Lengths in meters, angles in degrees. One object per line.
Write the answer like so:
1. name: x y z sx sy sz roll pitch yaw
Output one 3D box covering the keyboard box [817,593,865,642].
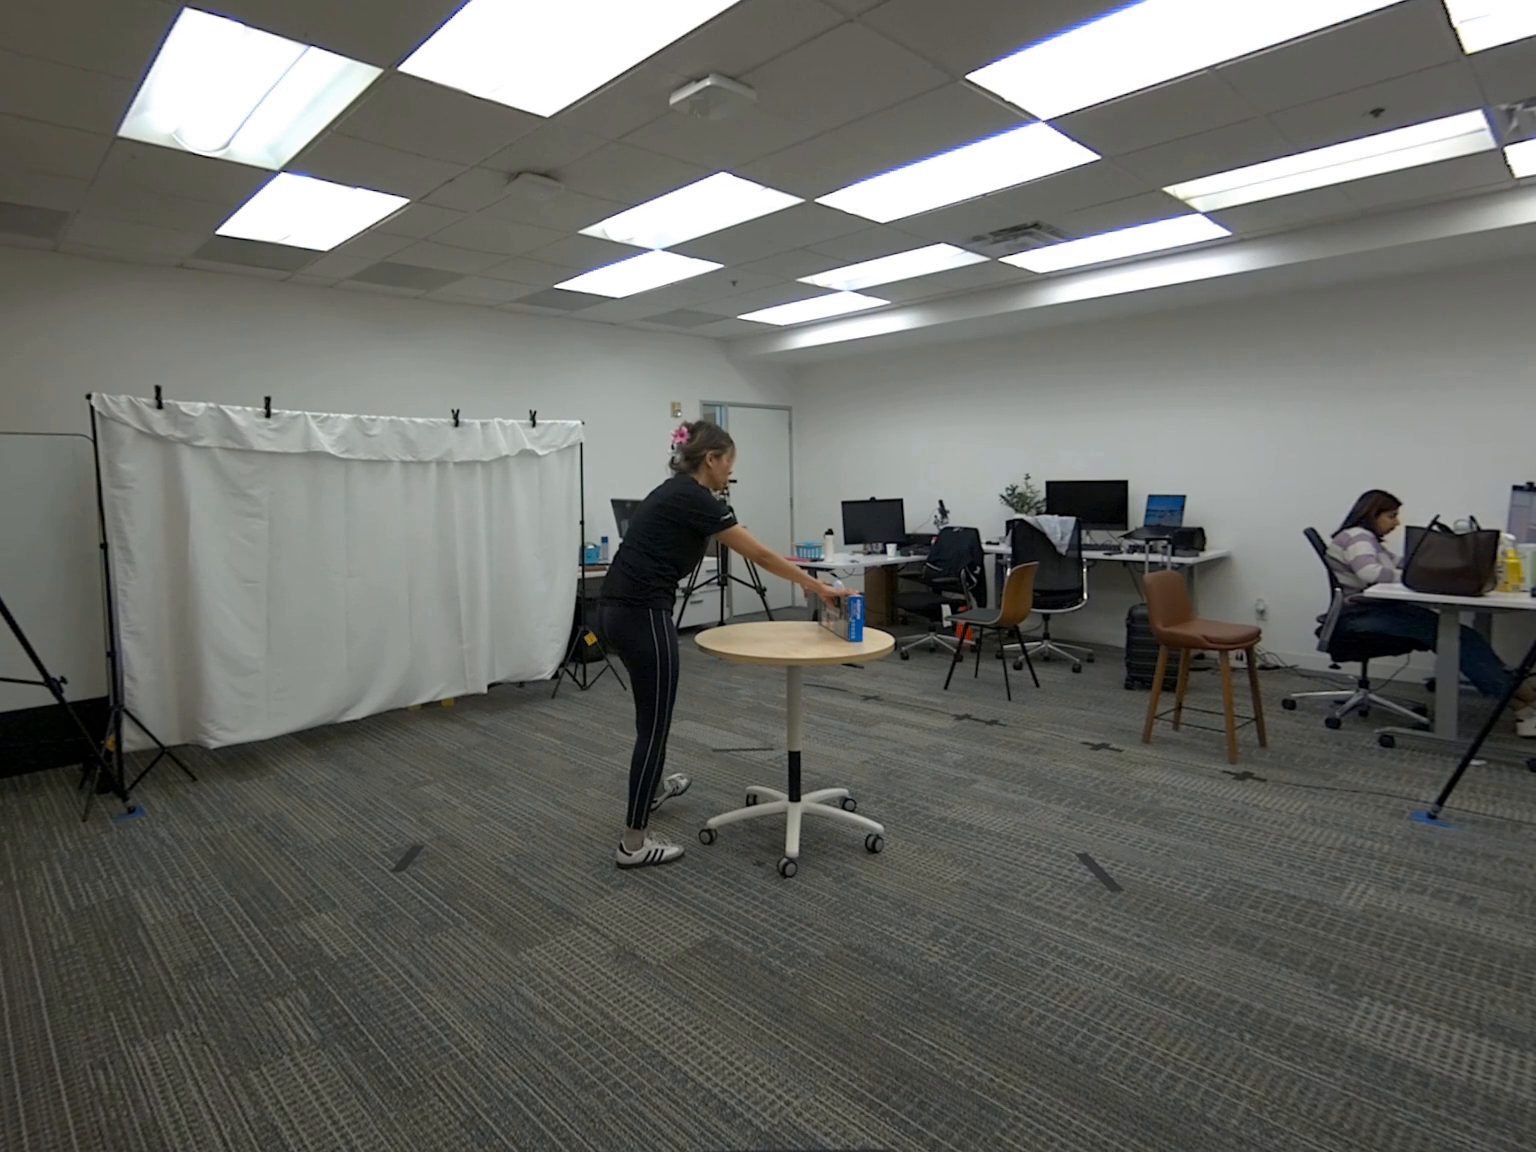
1. keyboard box: 0.282 0.136 3.413 0.058 0.175 0.442 0 5 -10
